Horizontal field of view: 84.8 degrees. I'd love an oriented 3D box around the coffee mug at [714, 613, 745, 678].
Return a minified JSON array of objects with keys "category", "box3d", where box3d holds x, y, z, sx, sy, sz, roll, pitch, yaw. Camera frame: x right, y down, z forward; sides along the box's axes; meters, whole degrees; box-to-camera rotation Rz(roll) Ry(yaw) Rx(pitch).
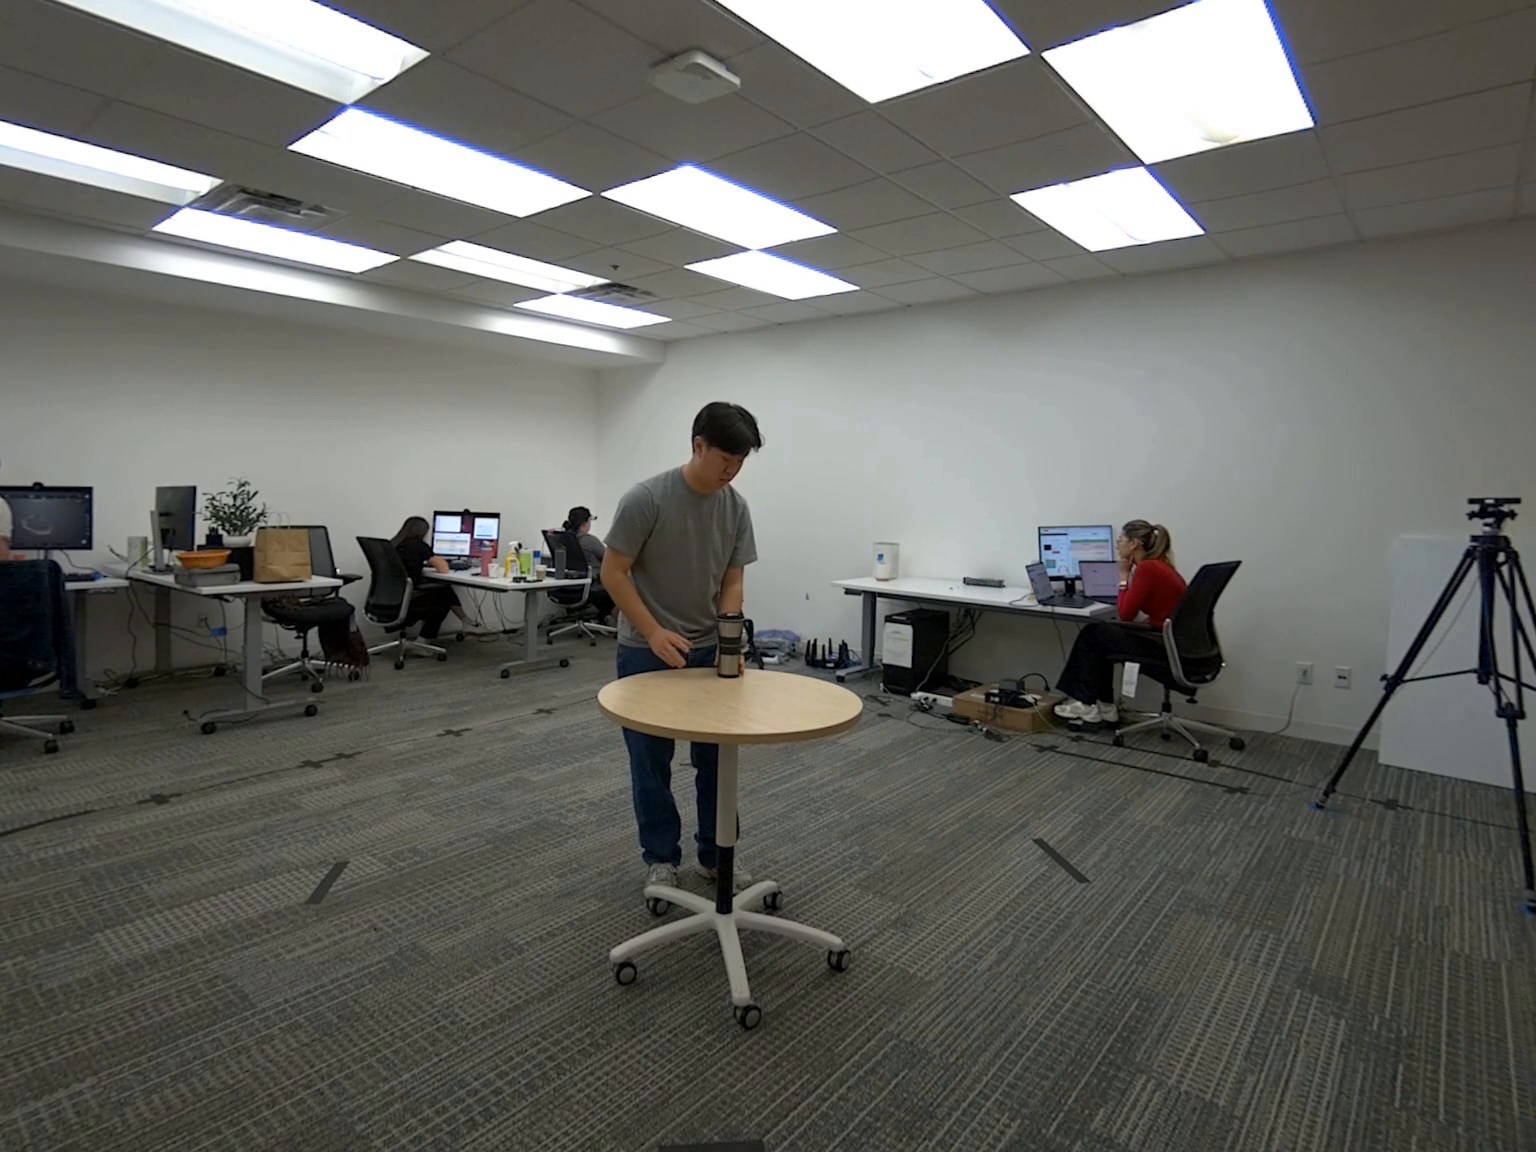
[{"category":"coffee mug","box3d":[-0.114,0.221,2.735,0.123,0.203,0.087,-2,-2,8]}]
